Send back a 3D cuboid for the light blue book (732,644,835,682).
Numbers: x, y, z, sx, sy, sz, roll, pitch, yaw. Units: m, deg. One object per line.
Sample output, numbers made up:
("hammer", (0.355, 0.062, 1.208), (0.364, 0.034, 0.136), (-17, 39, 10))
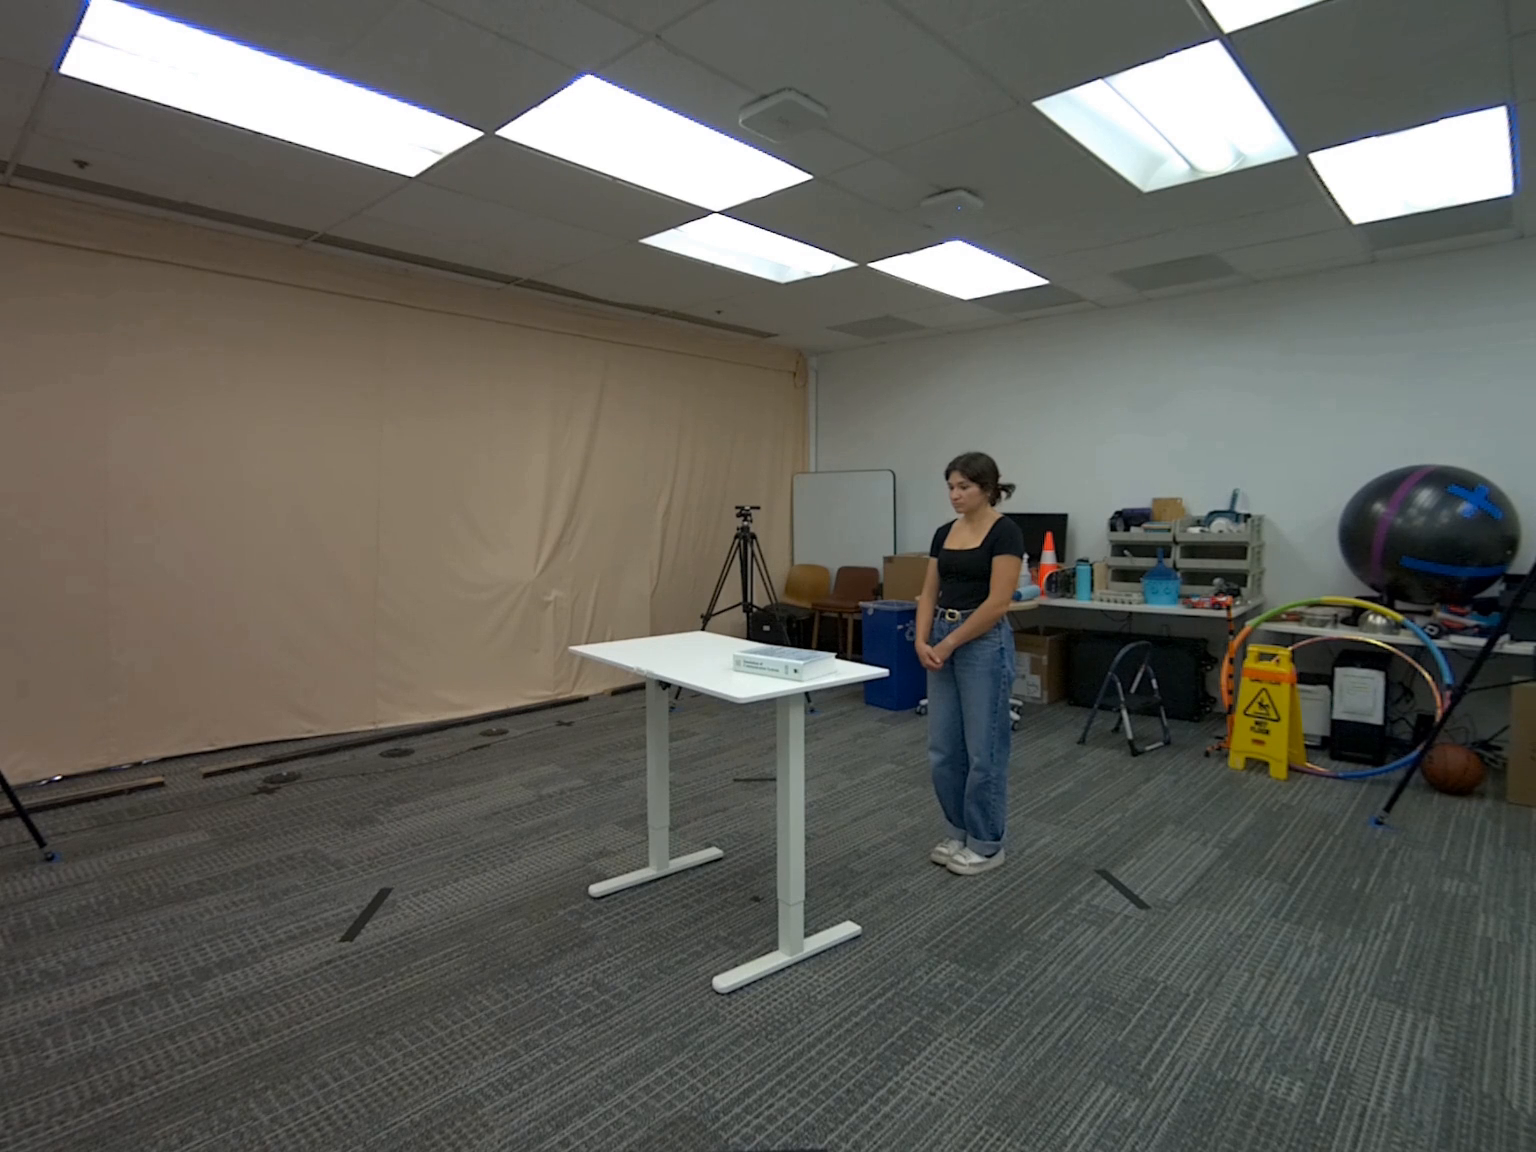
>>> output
("light blue book", (0.053, 0.269, 2.594), (0.269, 0.059, 0.186), (4, 7, 38))
